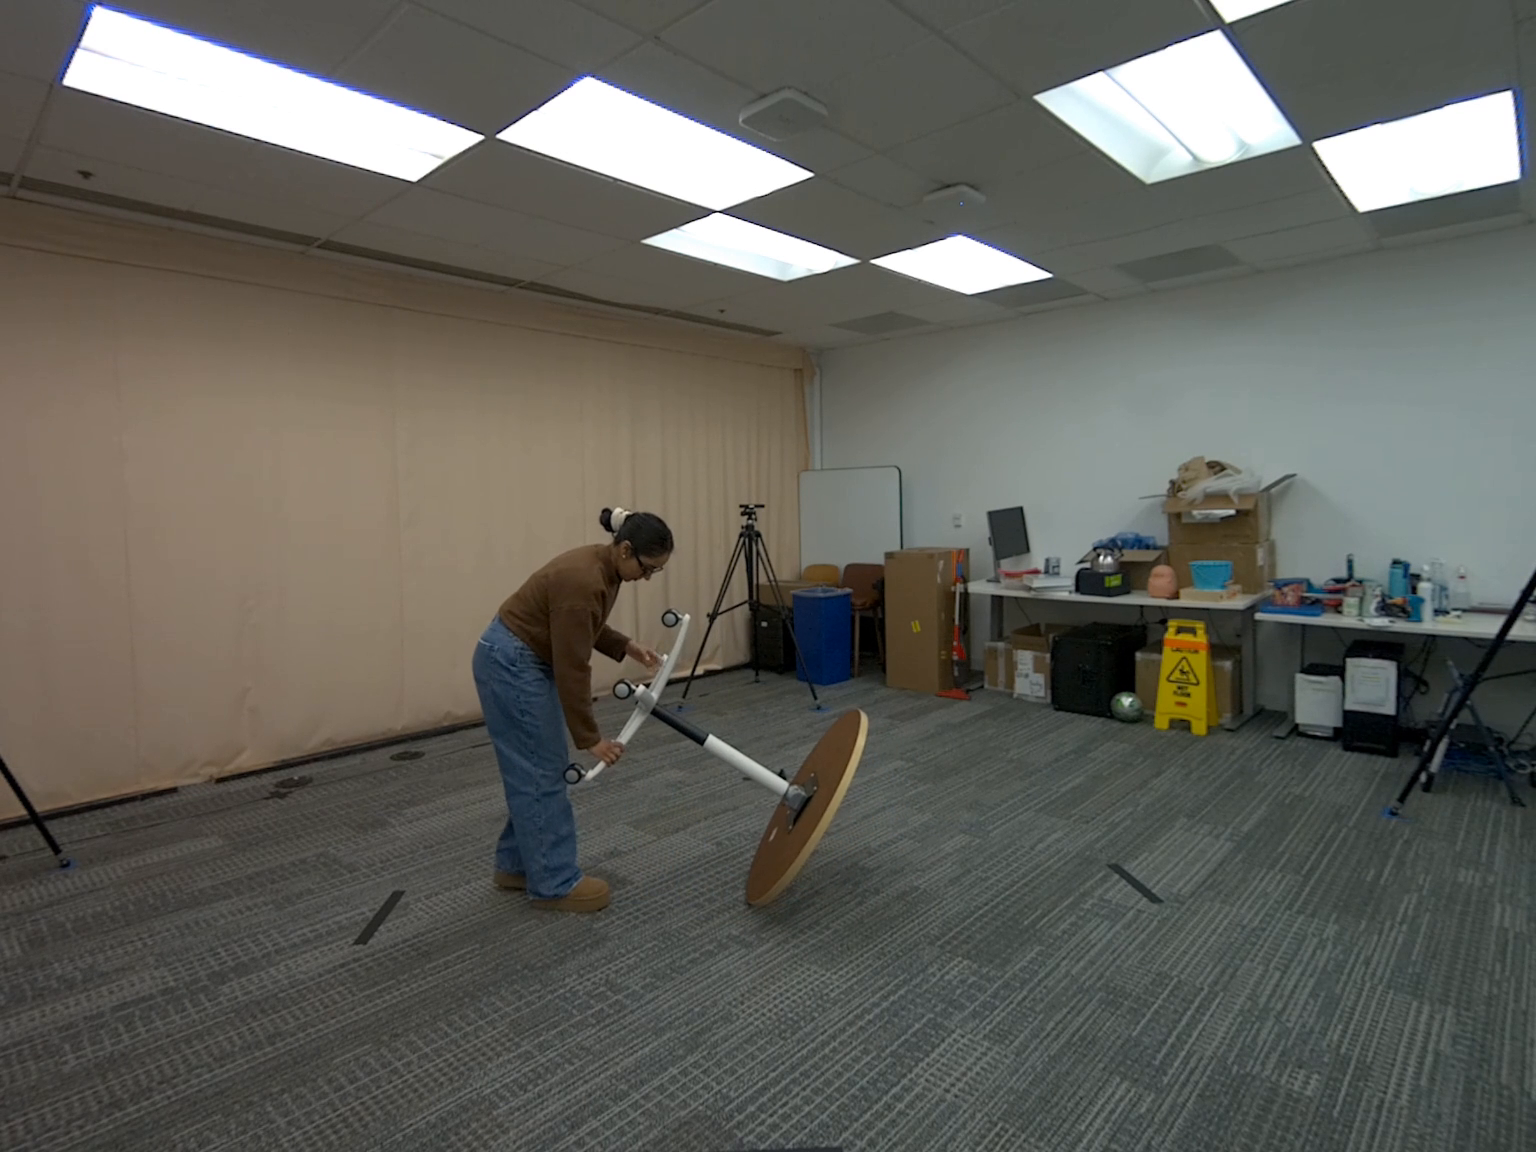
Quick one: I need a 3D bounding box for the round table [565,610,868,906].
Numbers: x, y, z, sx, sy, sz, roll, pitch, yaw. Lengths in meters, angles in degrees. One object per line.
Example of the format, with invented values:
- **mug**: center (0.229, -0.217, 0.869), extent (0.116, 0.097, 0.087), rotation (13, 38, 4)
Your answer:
- **round table**: center (-0.188, 0.607, 3.009), extent (0.795, 0.764, 0.763), rotation (32, 5, 0)
